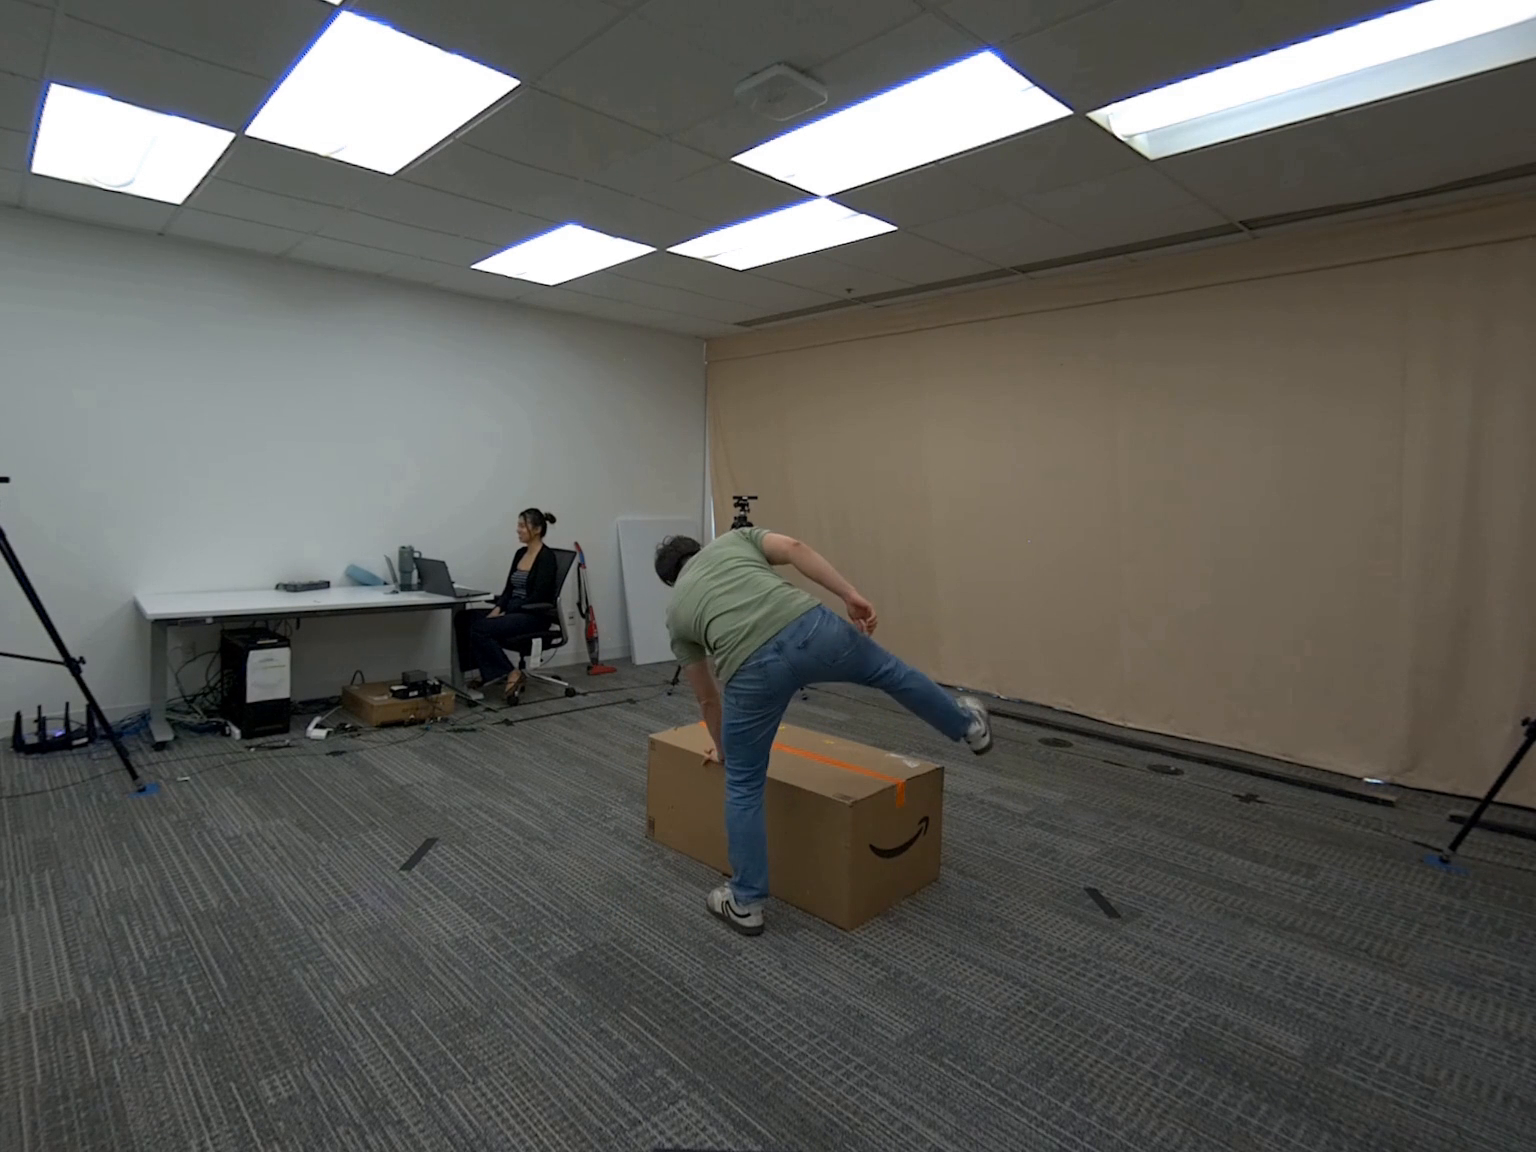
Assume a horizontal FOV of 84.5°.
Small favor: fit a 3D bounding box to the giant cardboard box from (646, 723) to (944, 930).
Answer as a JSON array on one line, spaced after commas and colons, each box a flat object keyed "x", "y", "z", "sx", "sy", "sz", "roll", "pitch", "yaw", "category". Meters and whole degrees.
[{"x": 0.070, "y": 0.883, "z": 3.261, "sx": 1.052, "sy": 0.425, "sz": 0.564, "roll": 6, "pitch": 6, "yaw": 43, "category": "giant cardboard box"}]
